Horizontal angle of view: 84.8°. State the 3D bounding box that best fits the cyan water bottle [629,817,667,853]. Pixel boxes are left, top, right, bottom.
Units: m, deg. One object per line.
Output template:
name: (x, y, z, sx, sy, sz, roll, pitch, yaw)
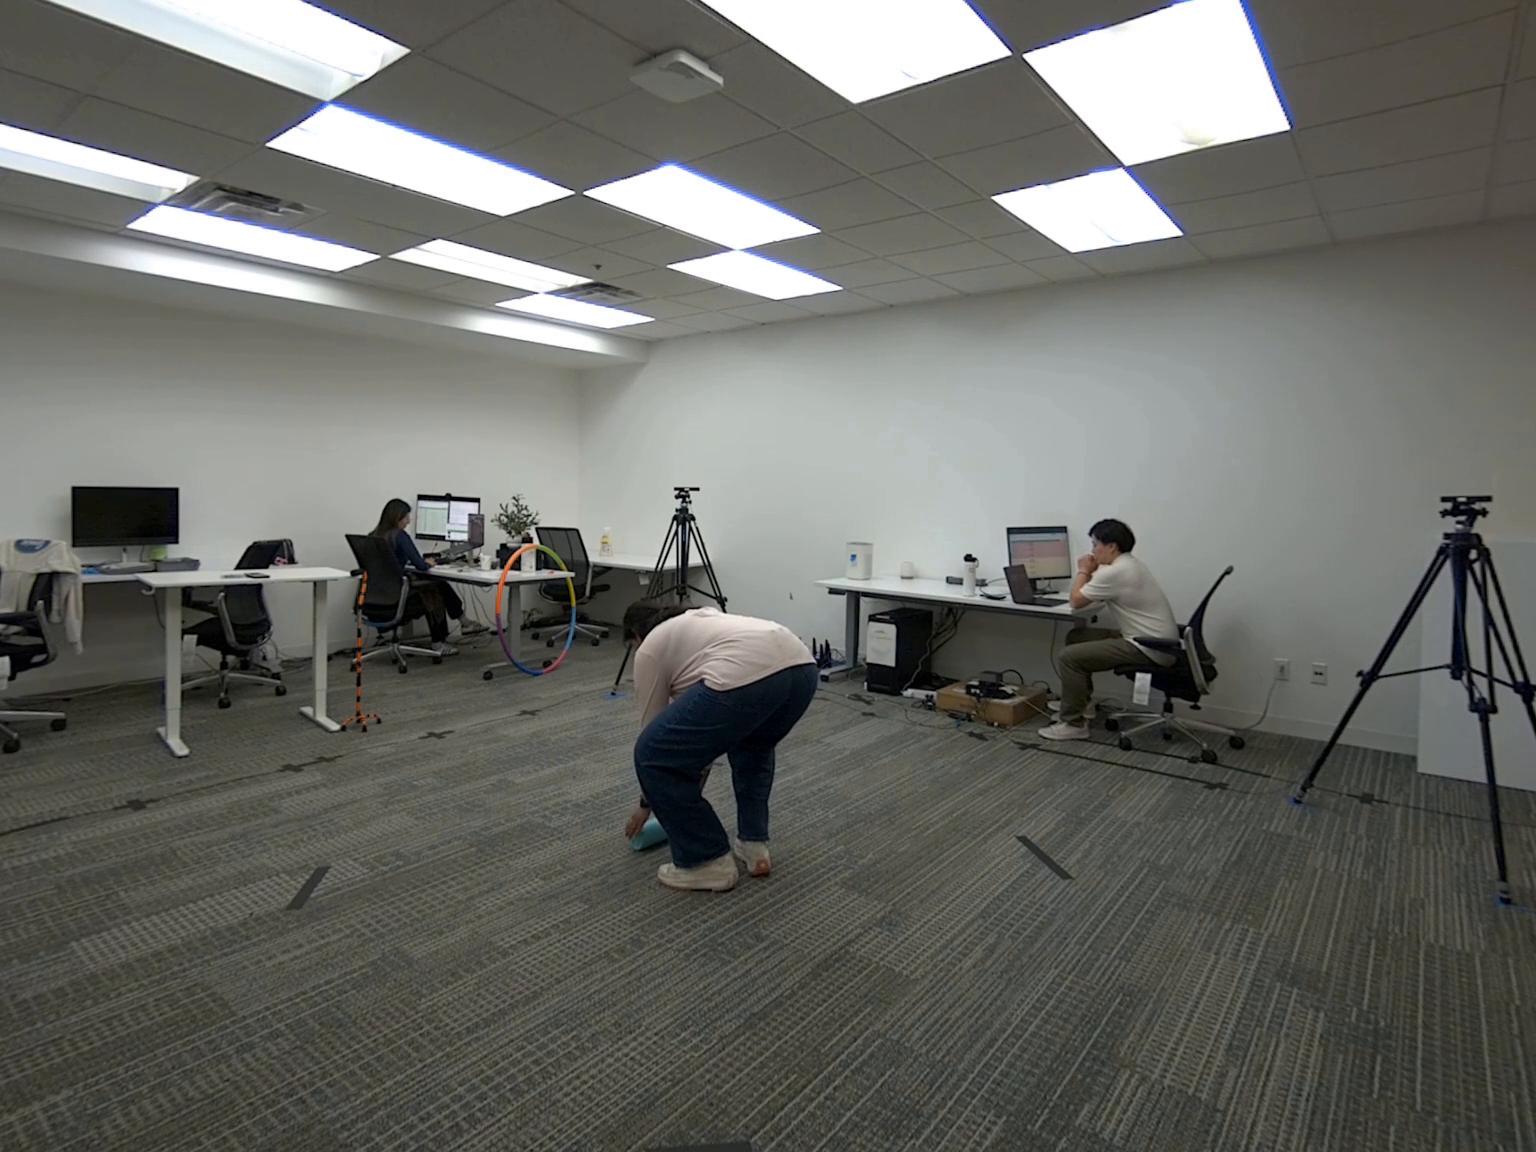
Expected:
cyan water bottle: (-0.422, 0.989, 3.356, 0.095, 0.092, 0.275, 4, 5, 42)
